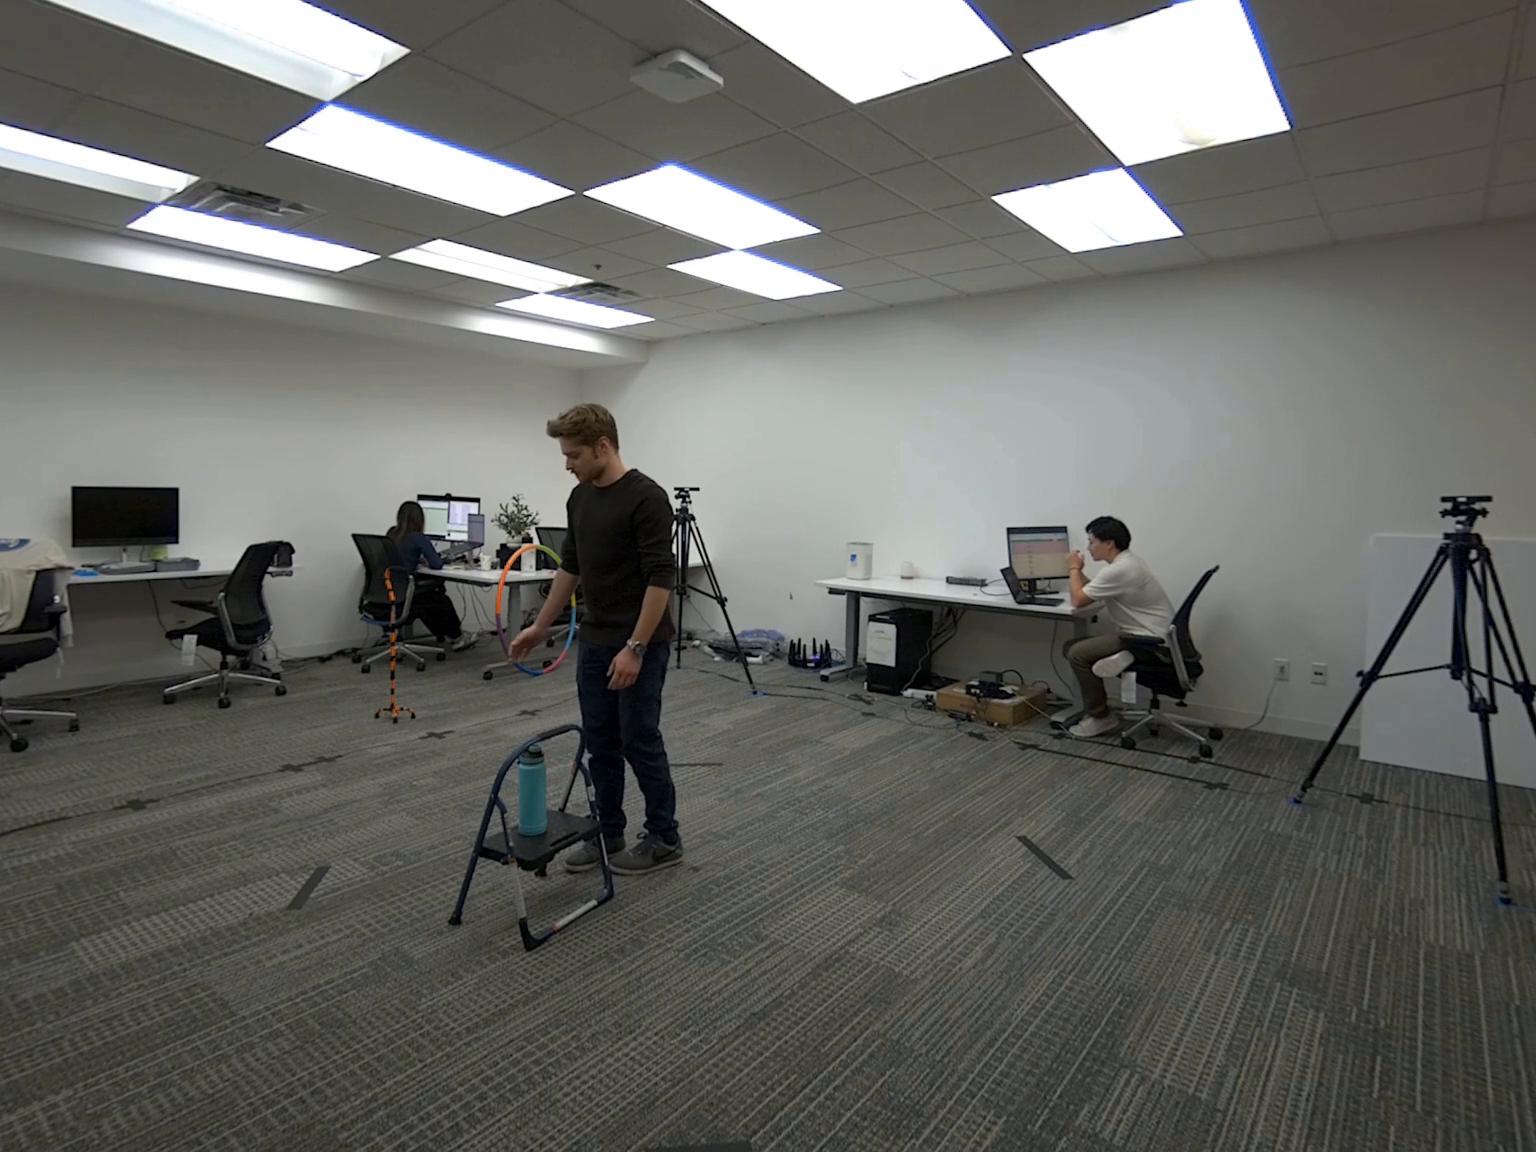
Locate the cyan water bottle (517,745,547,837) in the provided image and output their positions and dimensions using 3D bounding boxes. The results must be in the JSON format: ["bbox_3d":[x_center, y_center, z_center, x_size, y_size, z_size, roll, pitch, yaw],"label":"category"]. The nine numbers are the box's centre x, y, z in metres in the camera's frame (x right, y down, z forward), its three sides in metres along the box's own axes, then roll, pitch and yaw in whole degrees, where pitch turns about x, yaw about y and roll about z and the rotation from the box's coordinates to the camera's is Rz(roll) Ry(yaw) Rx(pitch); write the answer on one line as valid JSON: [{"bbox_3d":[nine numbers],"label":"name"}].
[{"bbox_3d":[-0.782,0.692,2.766,0.092,0.283,0.093,-1,3,-2],"label":"cyan water bottle"}]
